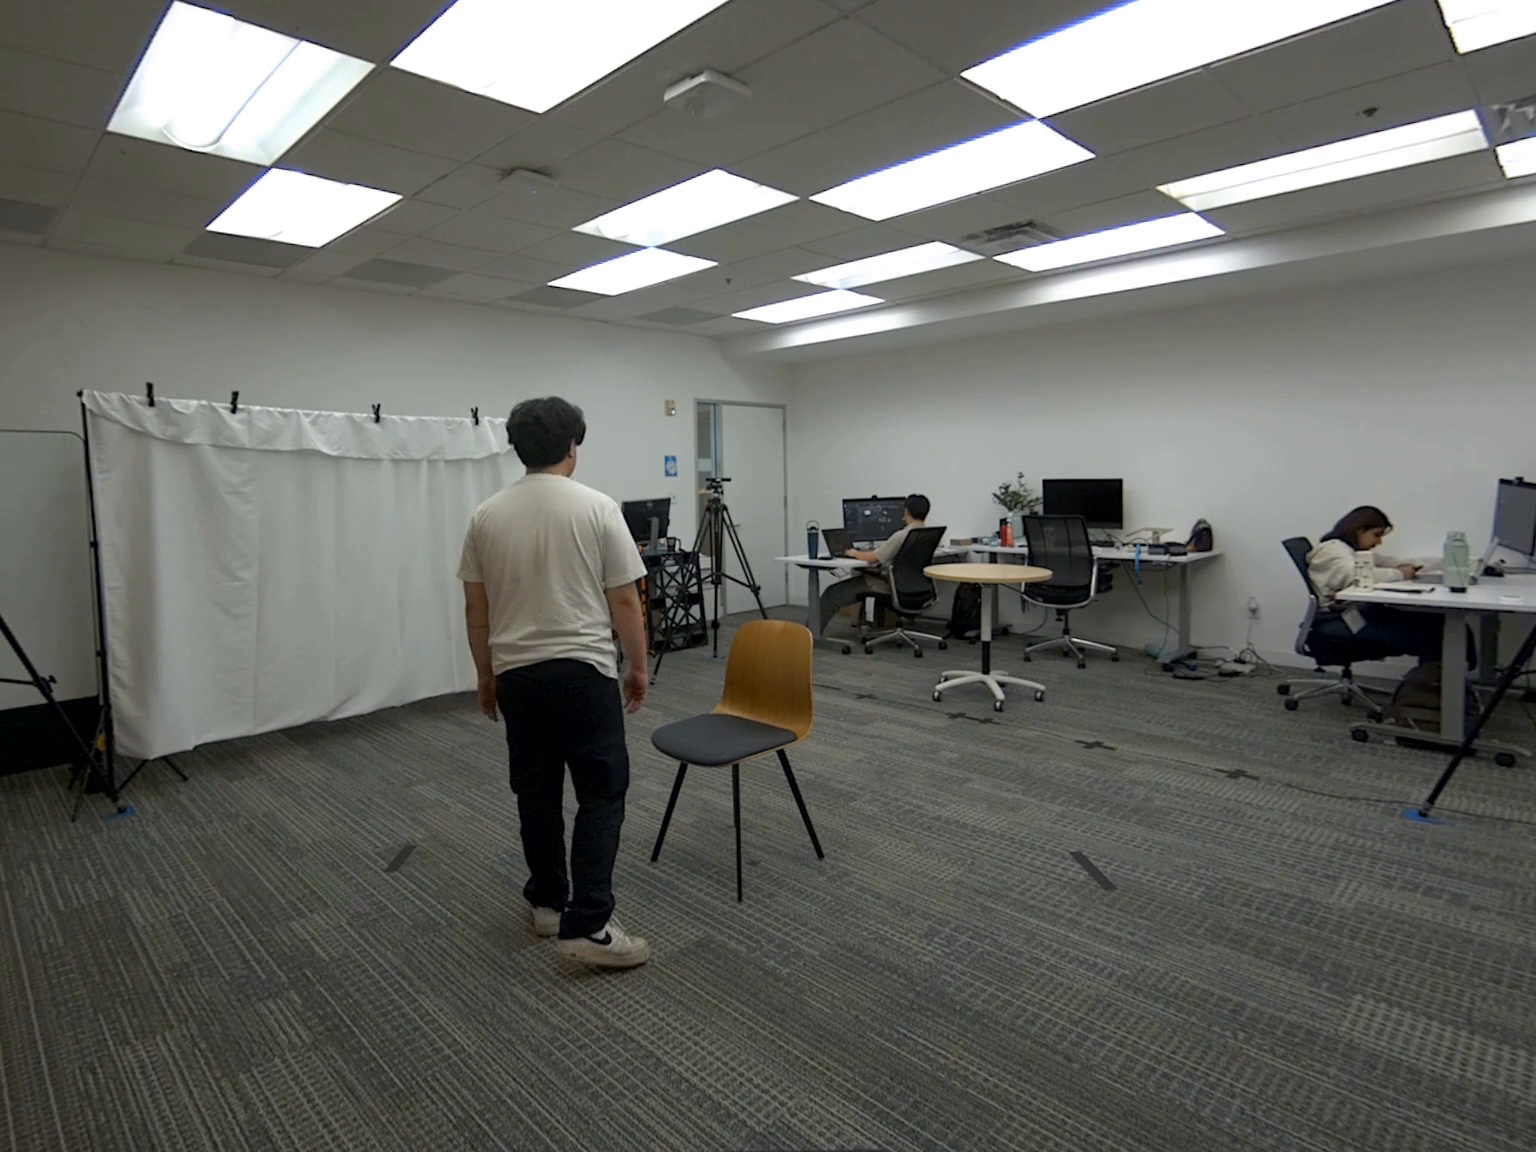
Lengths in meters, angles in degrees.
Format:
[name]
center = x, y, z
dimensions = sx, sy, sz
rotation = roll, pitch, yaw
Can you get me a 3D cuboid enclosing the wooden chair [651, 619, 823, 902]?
[wooden chair]
center = -0.121, 0.616, 3.094
dimensions = 0.493, 0.877, 0.508
rotation = 3, 1, 43
